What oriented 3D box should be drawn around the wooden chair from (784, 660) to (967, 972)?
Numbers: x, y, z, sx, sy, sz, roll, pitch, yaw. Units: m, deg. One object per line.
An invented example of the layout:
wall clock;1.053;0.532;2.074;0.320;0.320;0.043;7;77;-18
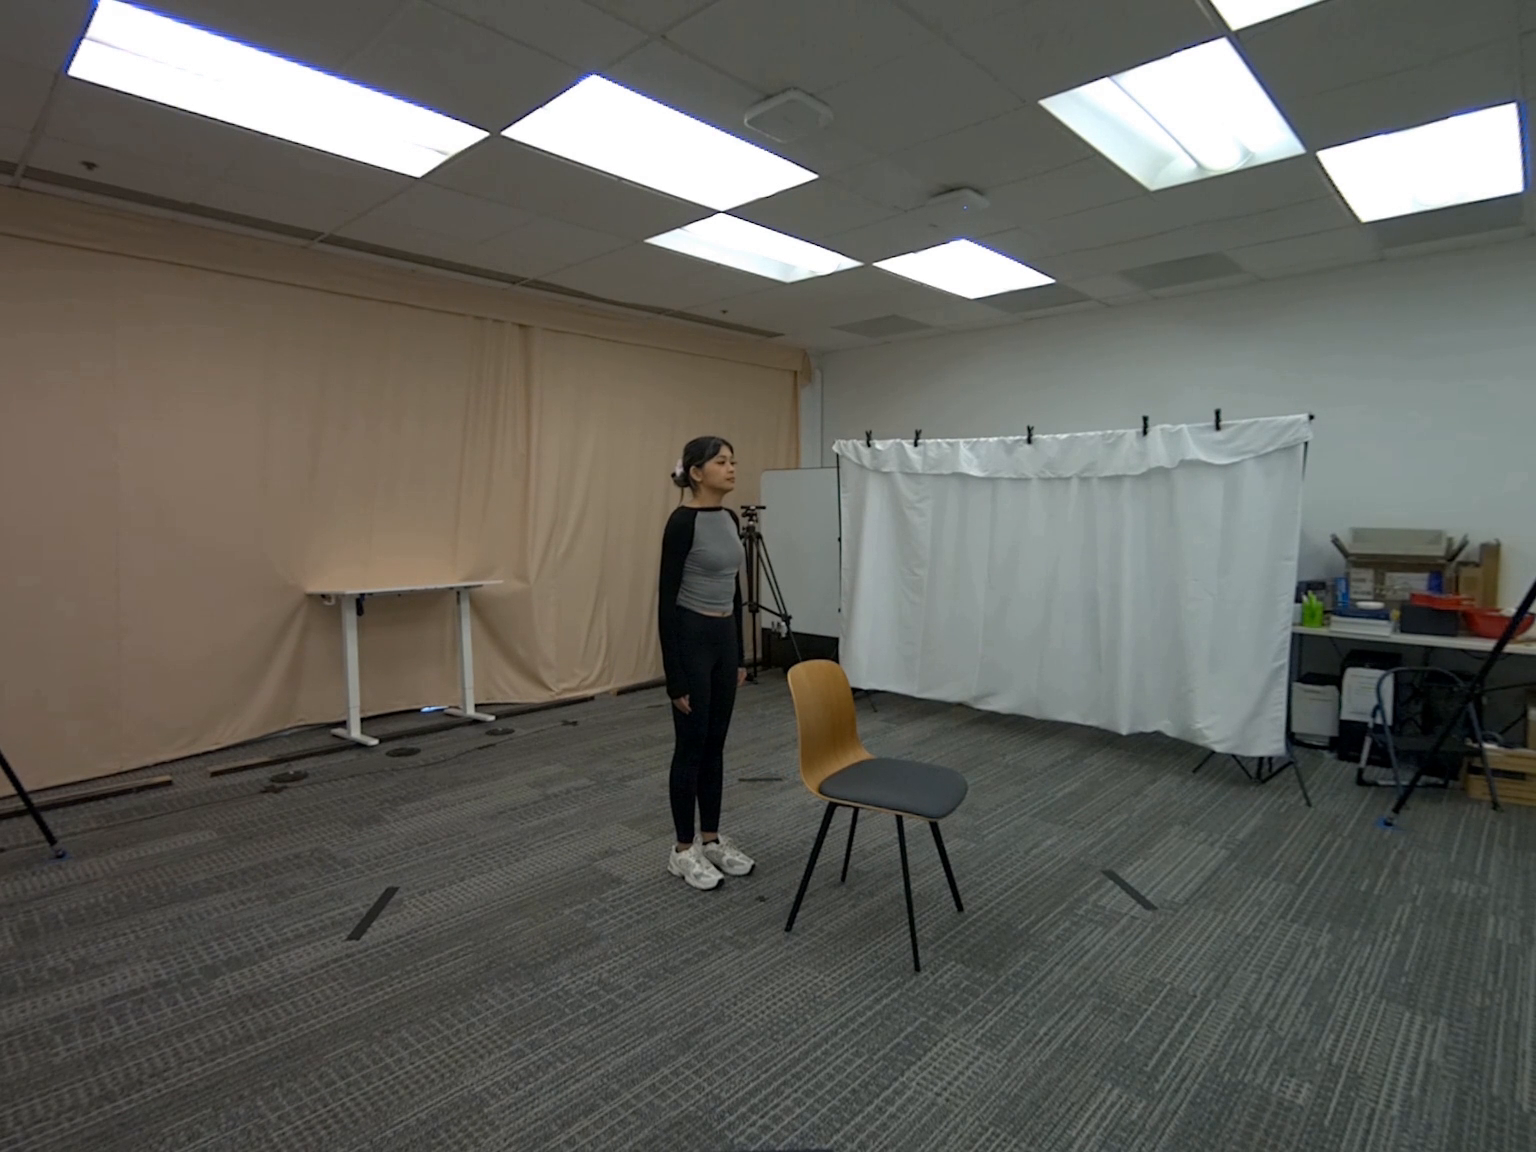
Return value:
wooden chair;0.375;0.732;2.785;0.538;0.877;0.465;-3;1;32
